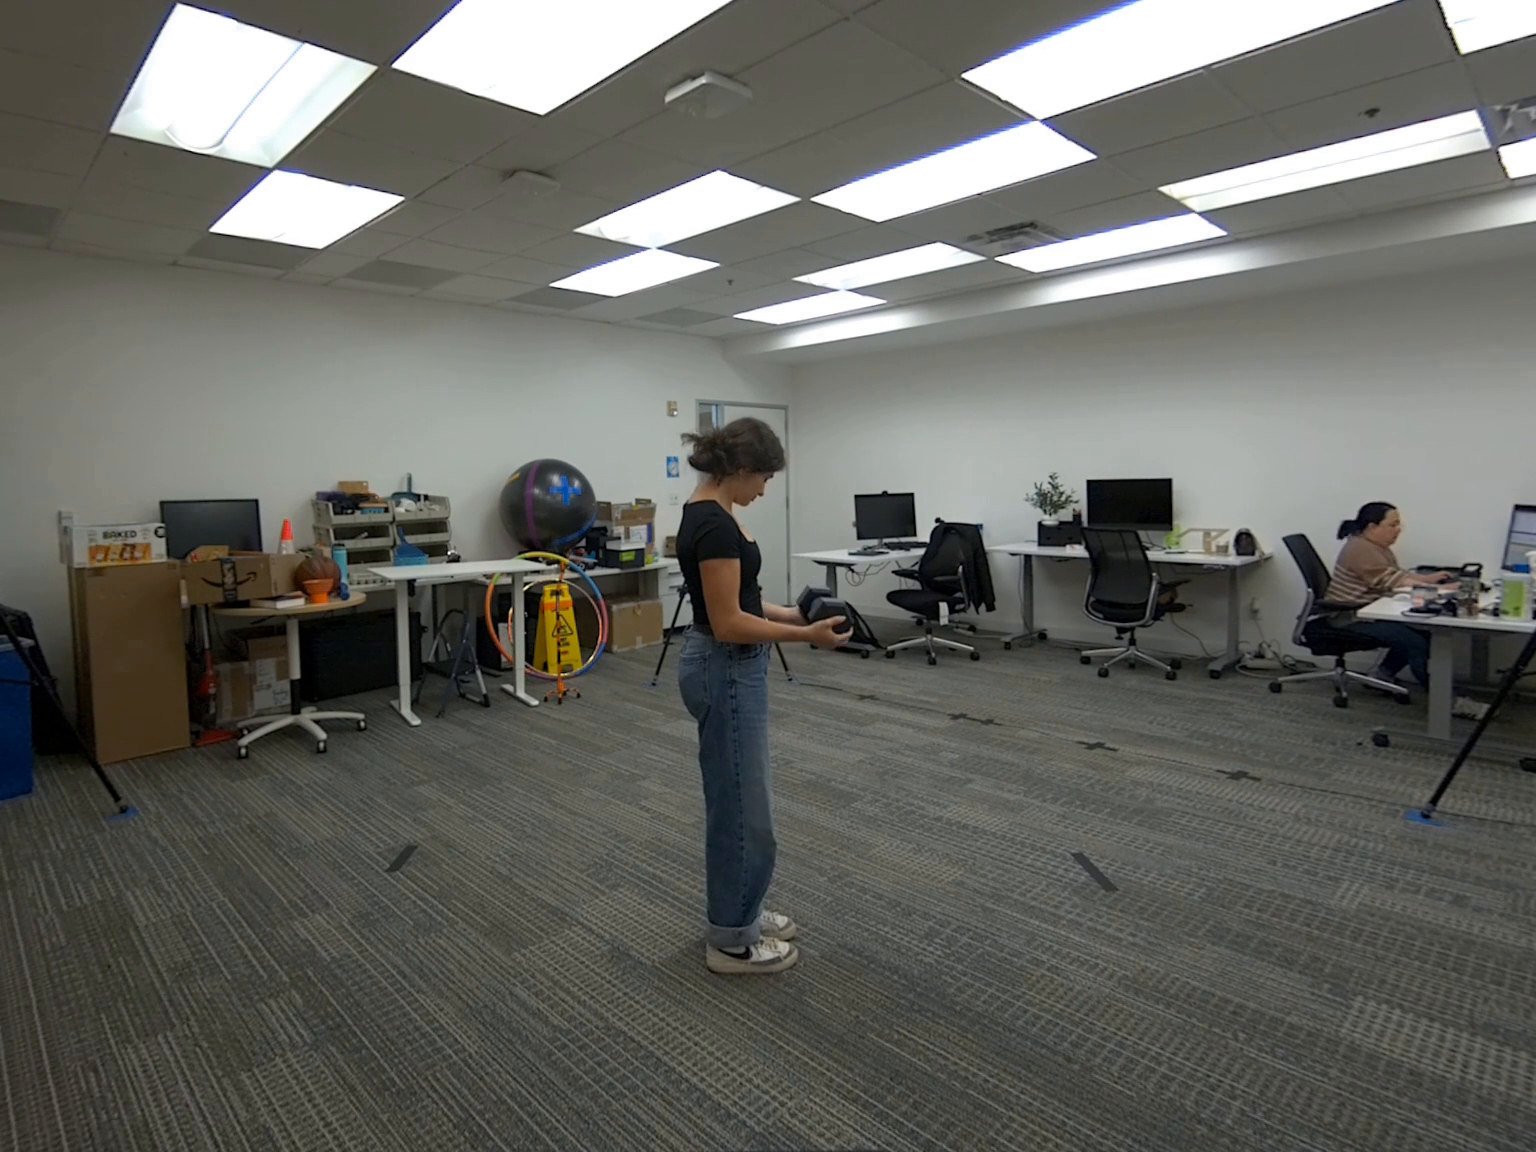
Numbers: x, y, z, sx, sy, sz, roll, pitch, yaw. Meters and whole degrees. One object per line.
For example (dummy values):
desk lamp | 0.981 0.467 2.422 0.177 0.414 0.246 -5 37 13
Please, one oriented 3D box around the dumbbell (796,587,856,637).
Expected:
dumbbell | 0.155 0.100 2.469 0.108 0.123 0.296 38 2 -8
